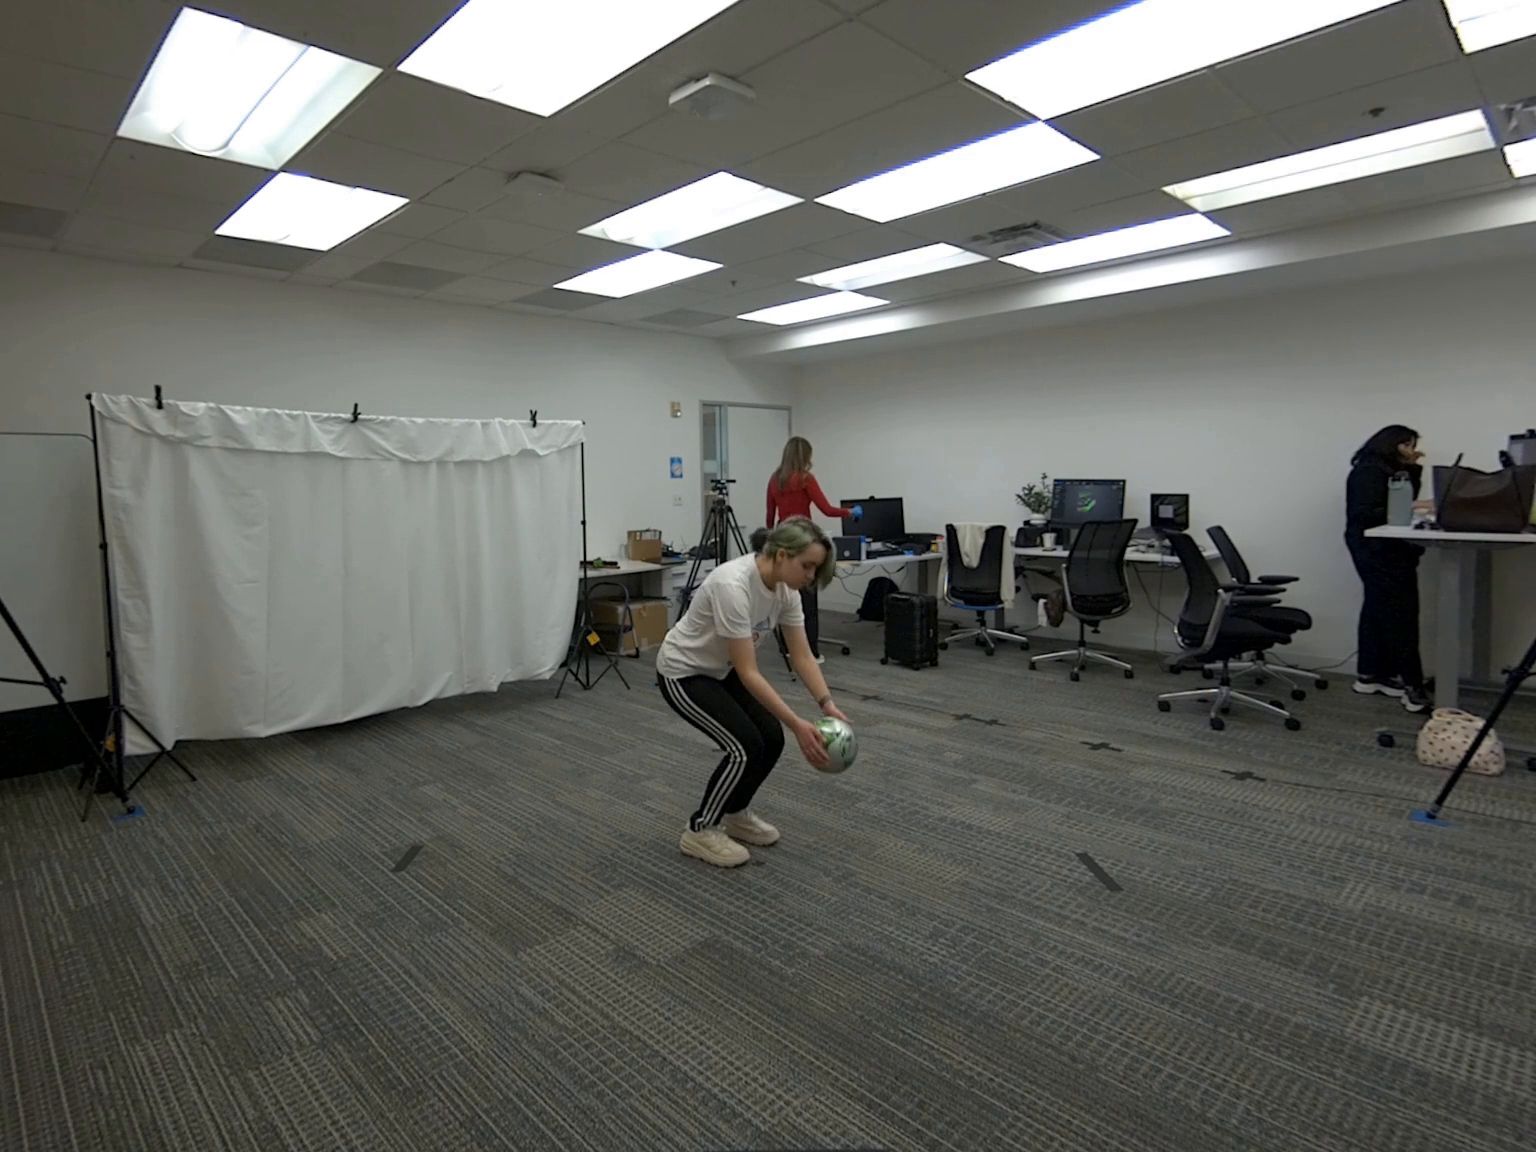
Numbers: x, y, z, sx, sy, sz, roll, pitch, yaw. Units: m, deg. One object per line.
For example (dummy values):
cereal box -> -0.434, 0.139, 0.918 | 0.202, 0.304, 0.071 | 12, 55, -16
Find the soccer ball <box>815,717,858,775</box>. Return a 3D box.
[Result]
soccer ball -> 0.220, 0.582, 2.889 | 0.187, 0.187, 0.188 | -1, 5, -2
